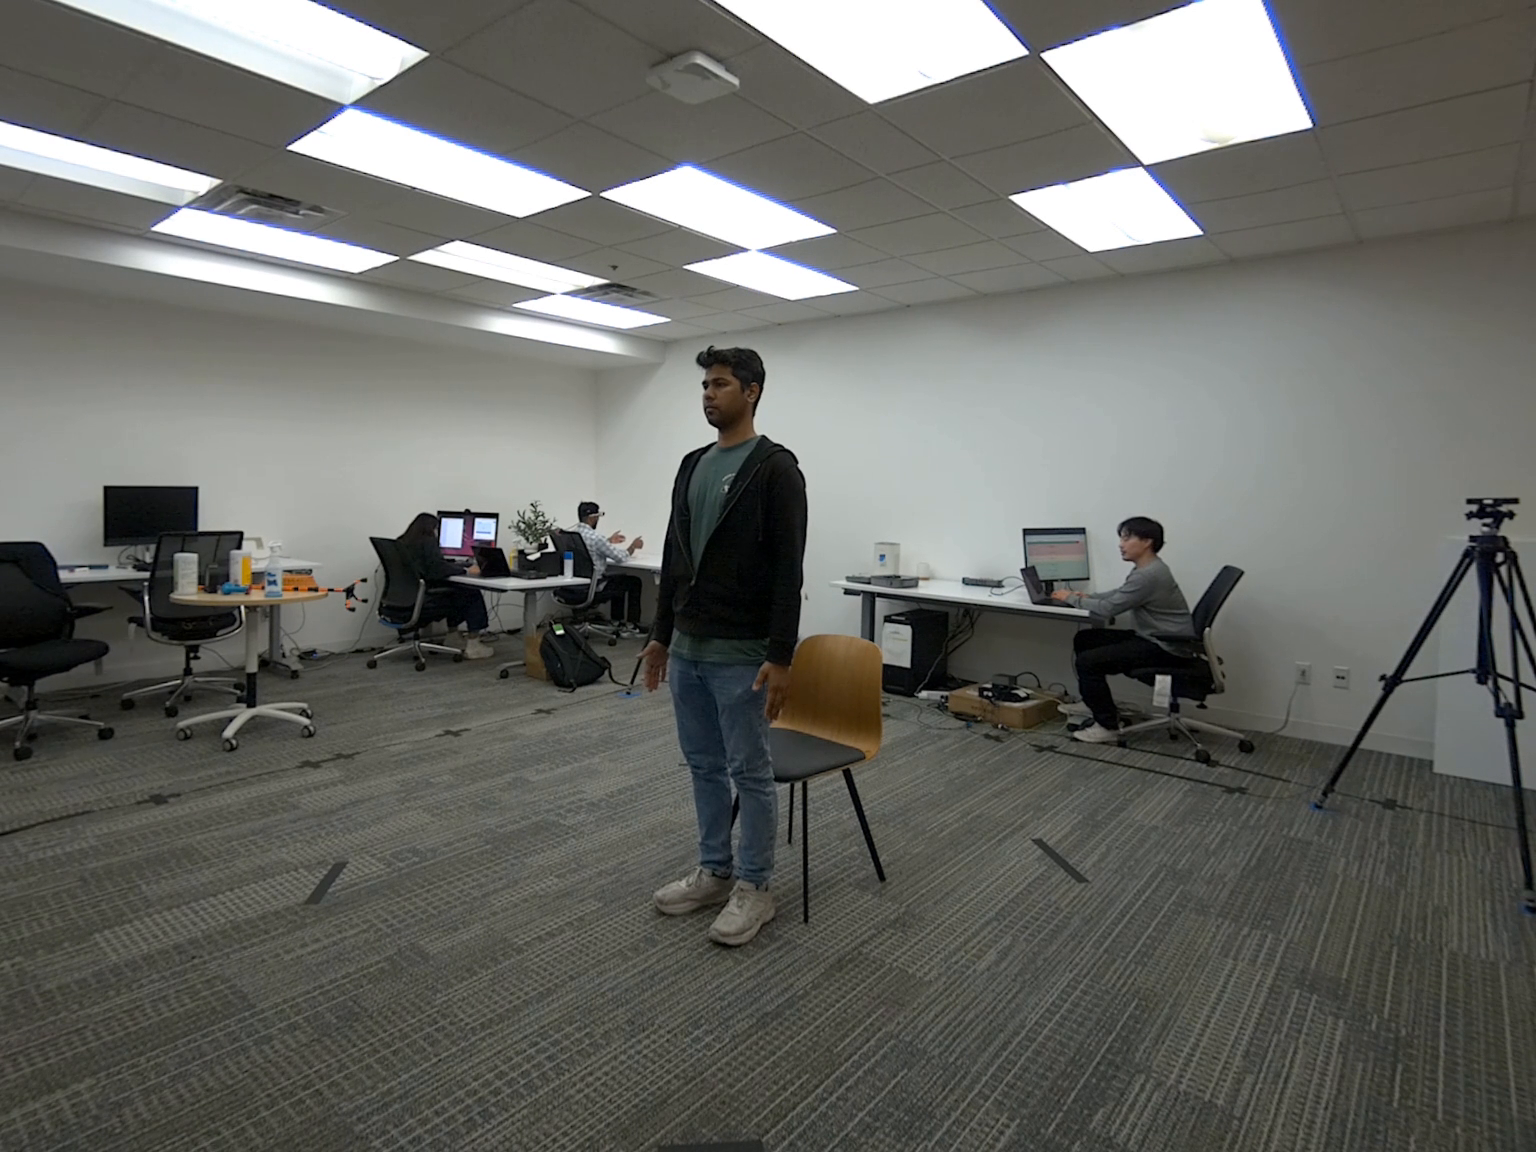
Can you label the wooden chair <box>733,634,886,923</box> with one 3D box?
[{"bbox_3d":[0.106,0.658,3.017,0.494,0.877,0.506,5,1,43],"label":"wooden chair"}]
